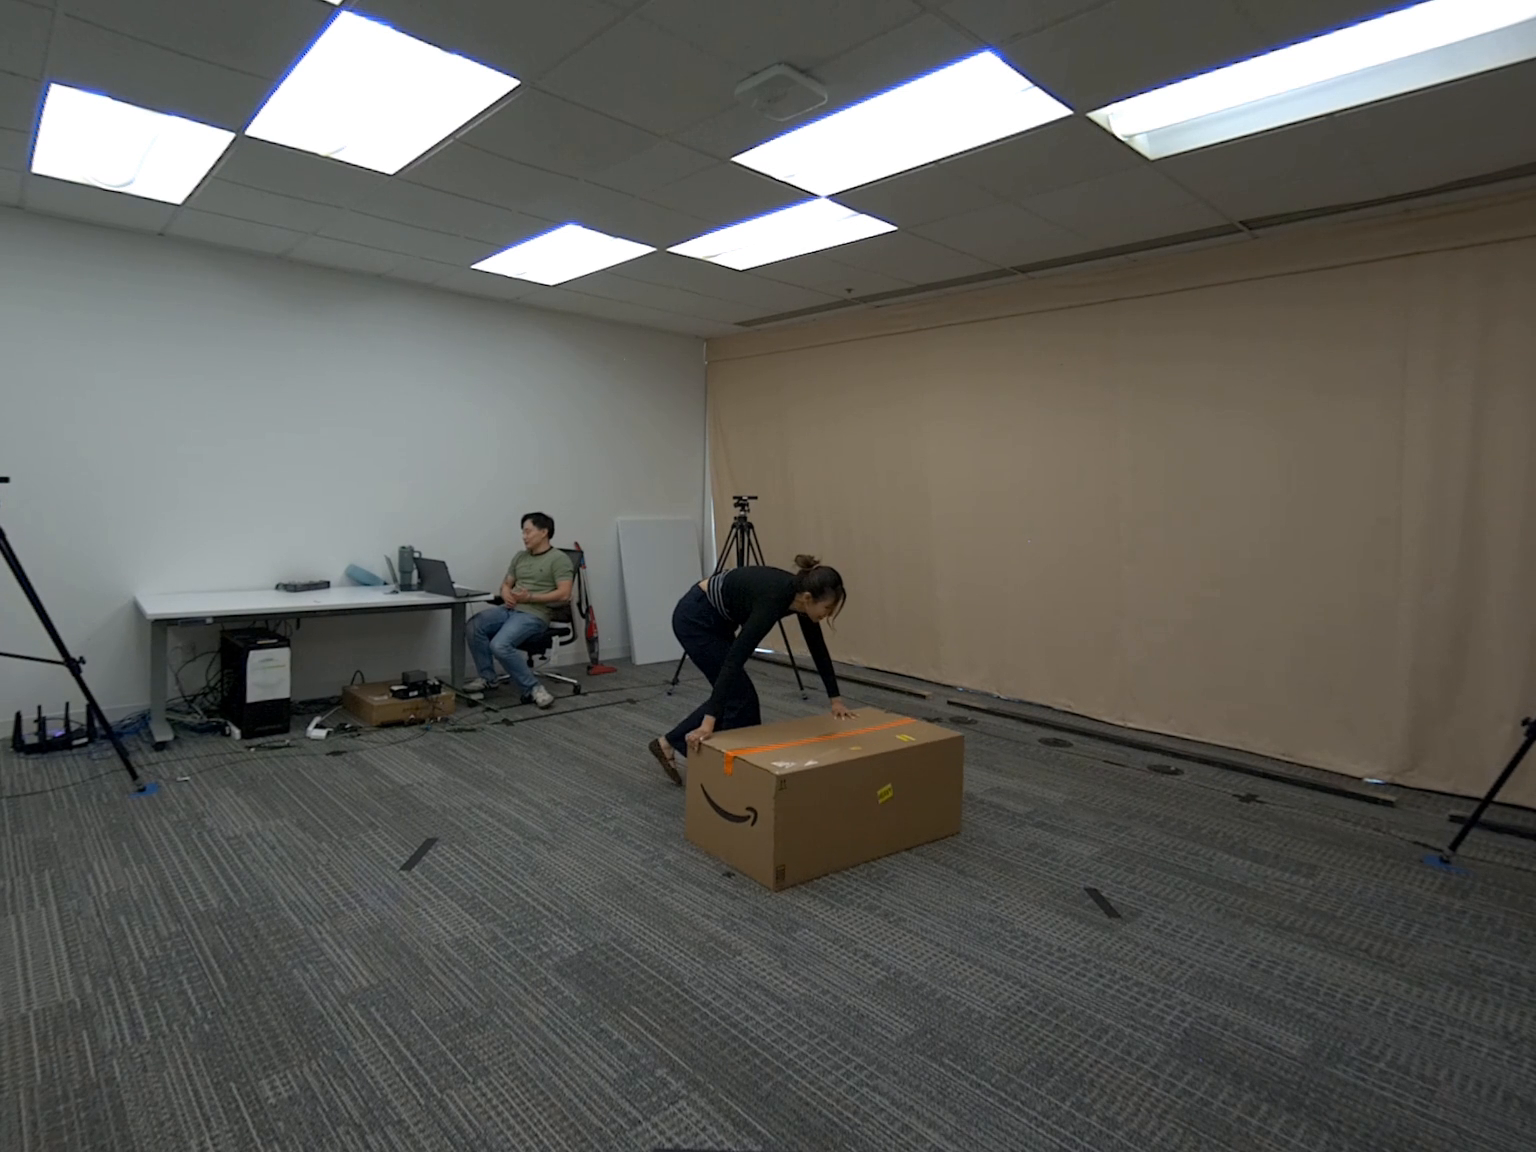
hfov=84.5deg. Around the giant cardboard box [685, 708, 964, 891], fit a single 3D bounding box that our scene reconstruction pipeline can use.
[{"bbox_3d":[0.239,0.864,3.483,1.003,0.425,0.592,-2,5,-37],"label":"giant cardboard box"}]
